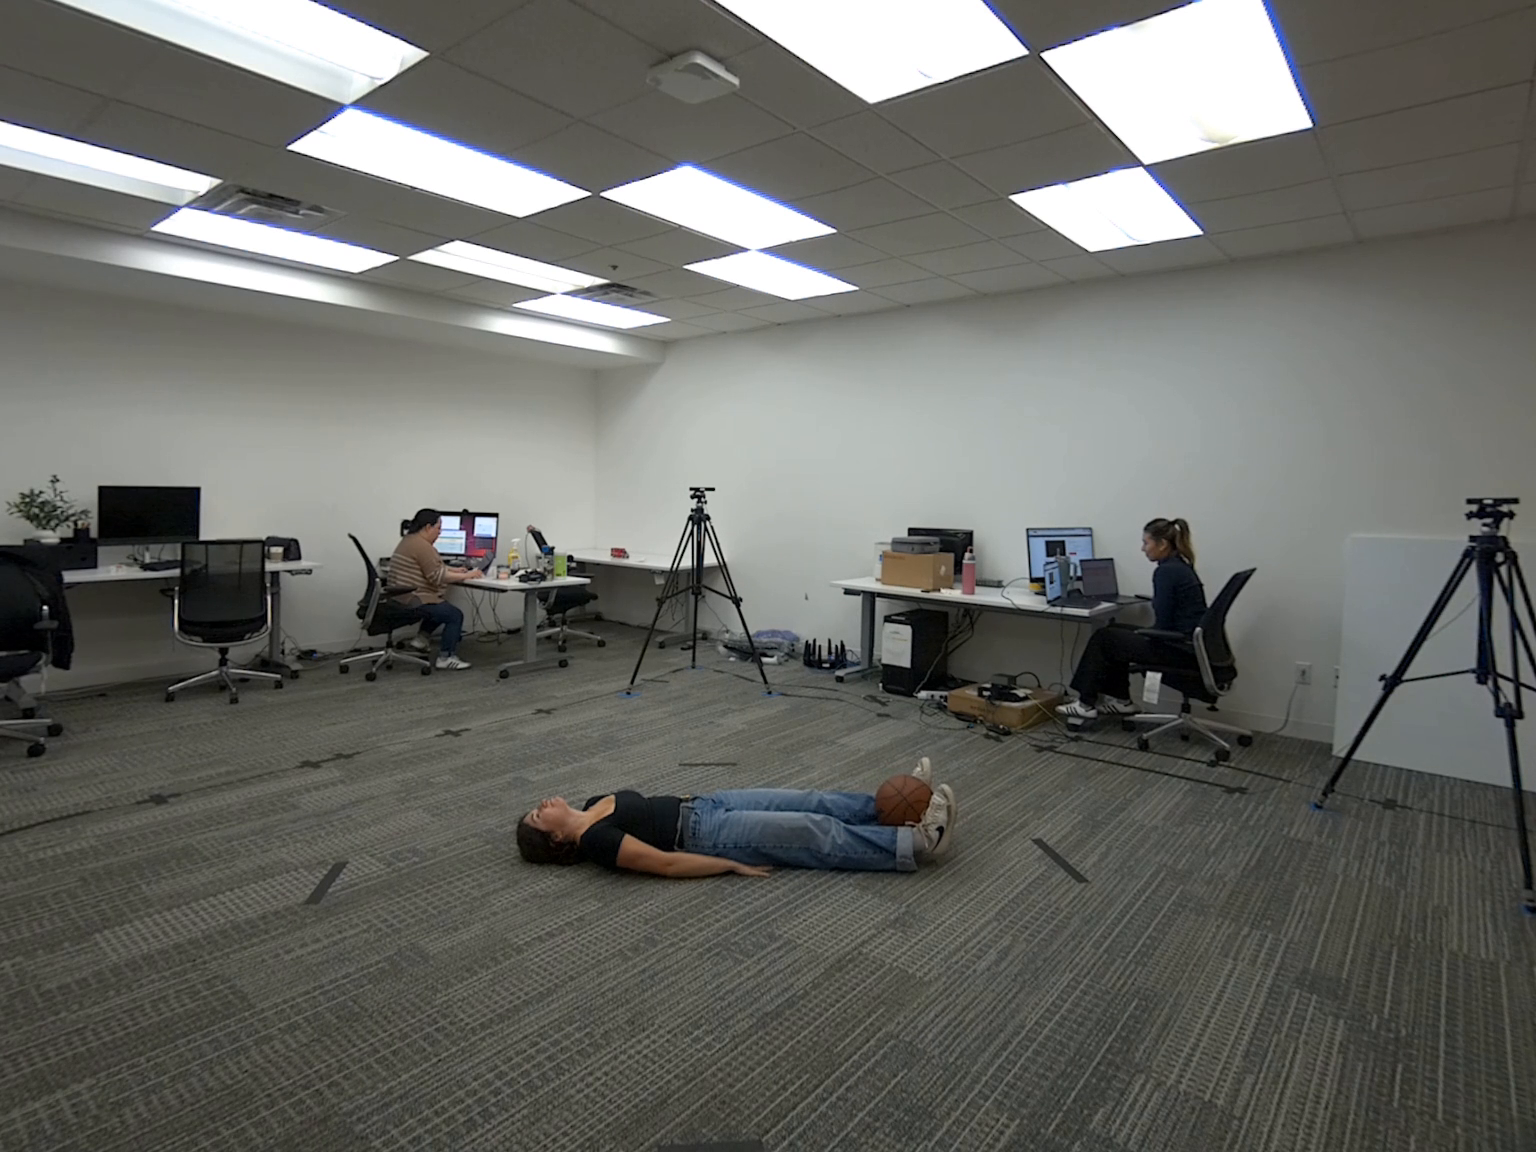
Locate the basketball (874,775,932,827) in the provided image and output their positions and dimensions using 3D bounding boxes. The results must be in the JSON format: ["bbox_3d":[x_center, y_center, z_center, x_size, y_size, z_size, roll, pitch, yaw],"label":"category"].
[{"bbox_3d":[0.526,0.883,3.306,0.235,0.235,0.237,1,4,-2],"label":"basketball"}]
